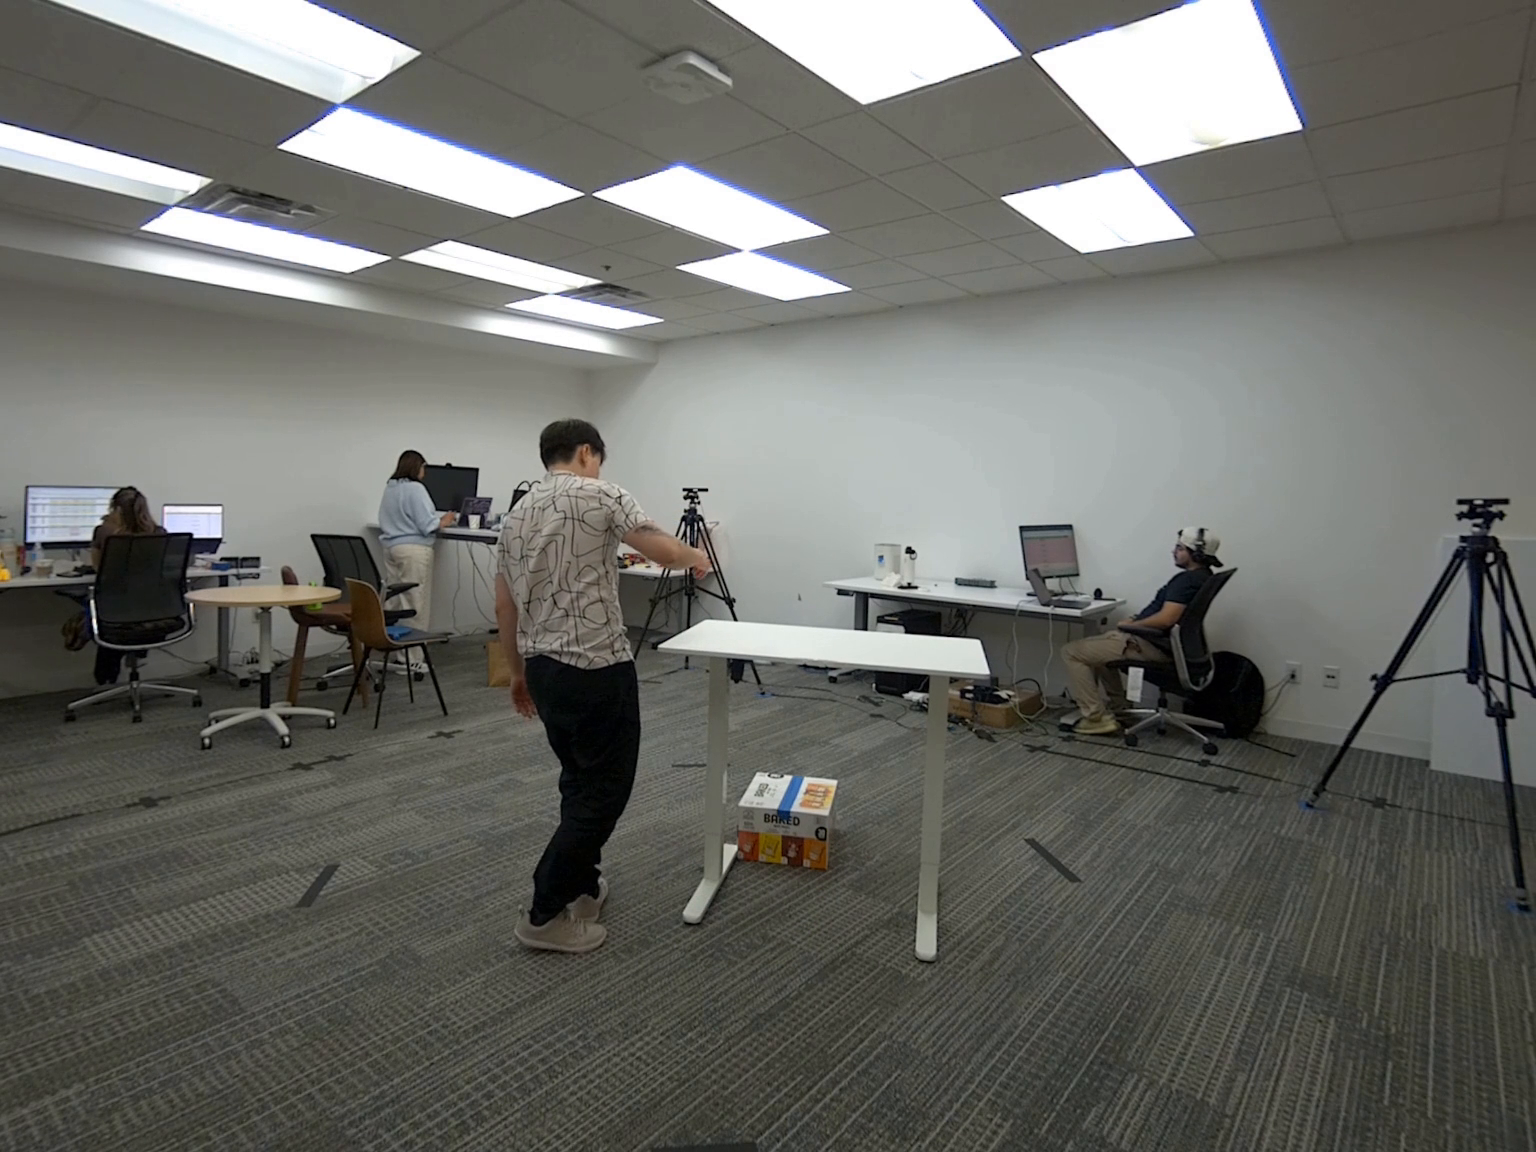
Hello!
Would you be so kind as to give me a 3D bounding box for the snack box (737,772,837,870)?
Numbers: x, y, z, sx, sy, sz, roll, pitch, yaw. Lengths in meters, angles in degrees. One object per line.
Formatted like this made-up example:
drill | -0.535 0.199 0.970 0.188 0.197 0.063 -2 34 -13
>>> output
snack box | 0.078 0.950 3.352 0.345 0.205 0.401 3 5 11
